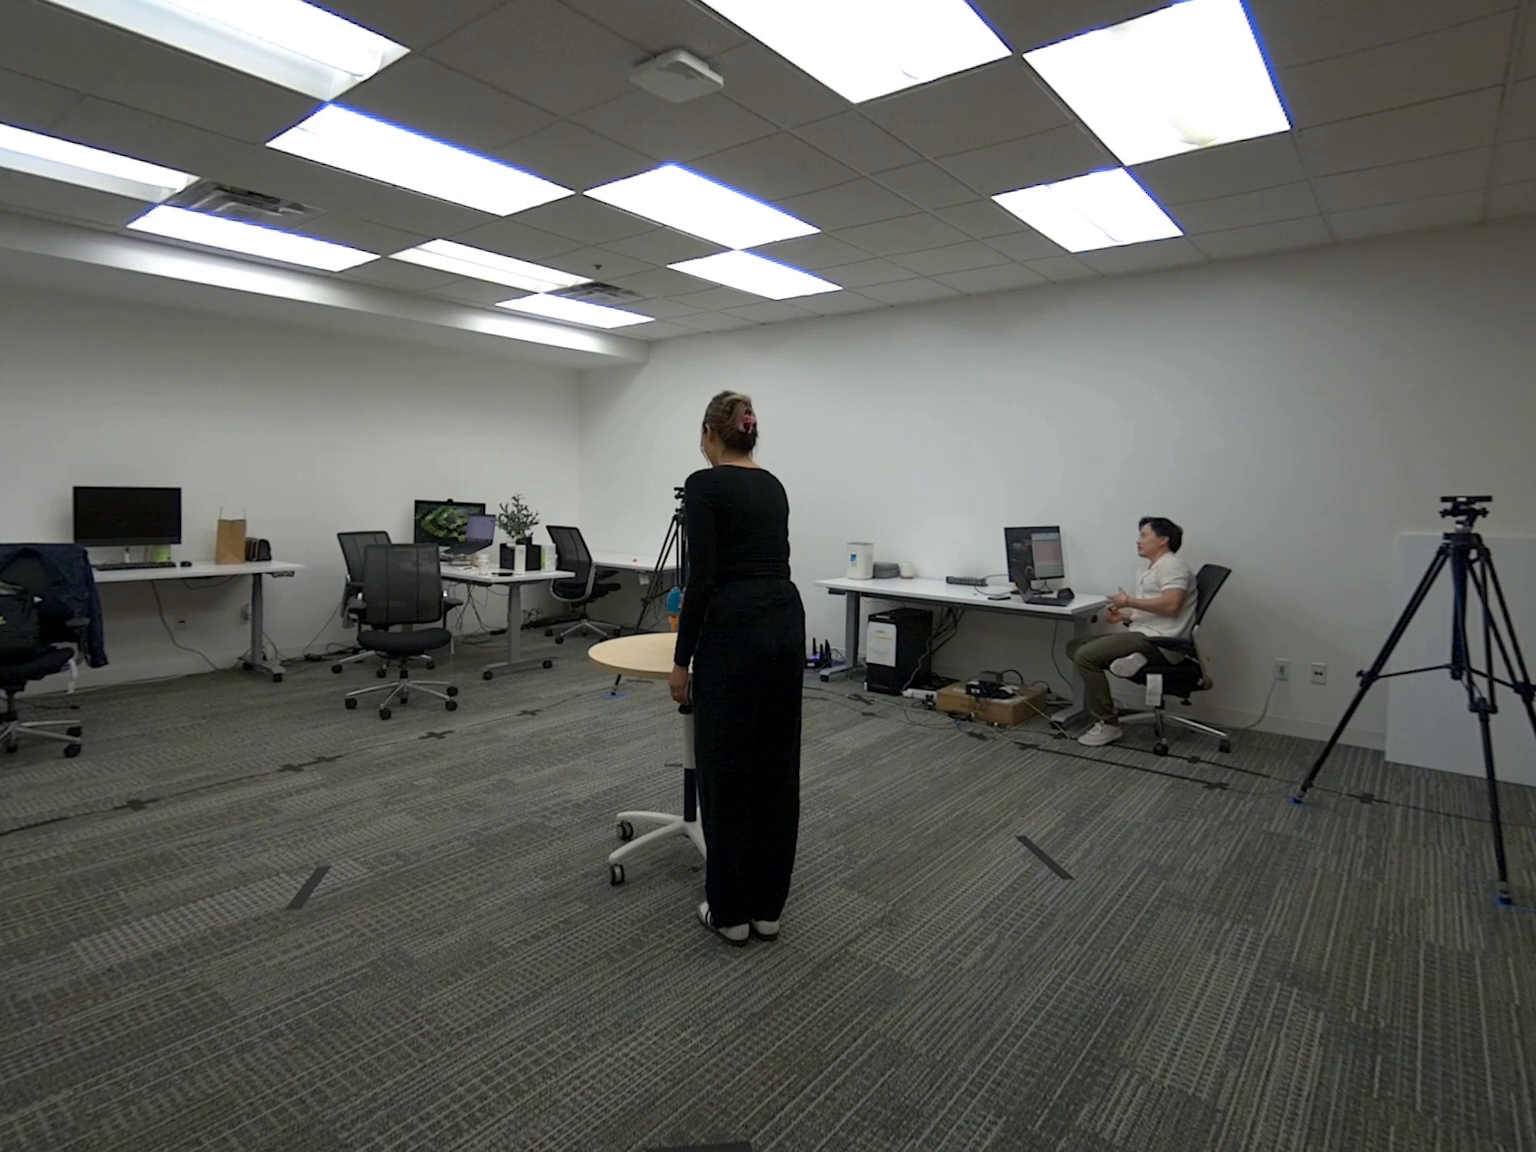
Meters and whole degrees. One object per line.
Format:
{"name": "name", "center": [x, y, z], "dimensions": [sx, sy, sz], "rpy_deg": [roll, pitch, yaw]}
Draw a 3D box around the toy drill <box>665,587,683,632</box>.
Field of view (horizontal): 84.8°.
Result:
{"name": "toy drill", "center": [-0.325, 0.135, 3.237], "dimensions": [0.149, 0.169, 0.060], "rpy_deg": [8, 3, 20]}
